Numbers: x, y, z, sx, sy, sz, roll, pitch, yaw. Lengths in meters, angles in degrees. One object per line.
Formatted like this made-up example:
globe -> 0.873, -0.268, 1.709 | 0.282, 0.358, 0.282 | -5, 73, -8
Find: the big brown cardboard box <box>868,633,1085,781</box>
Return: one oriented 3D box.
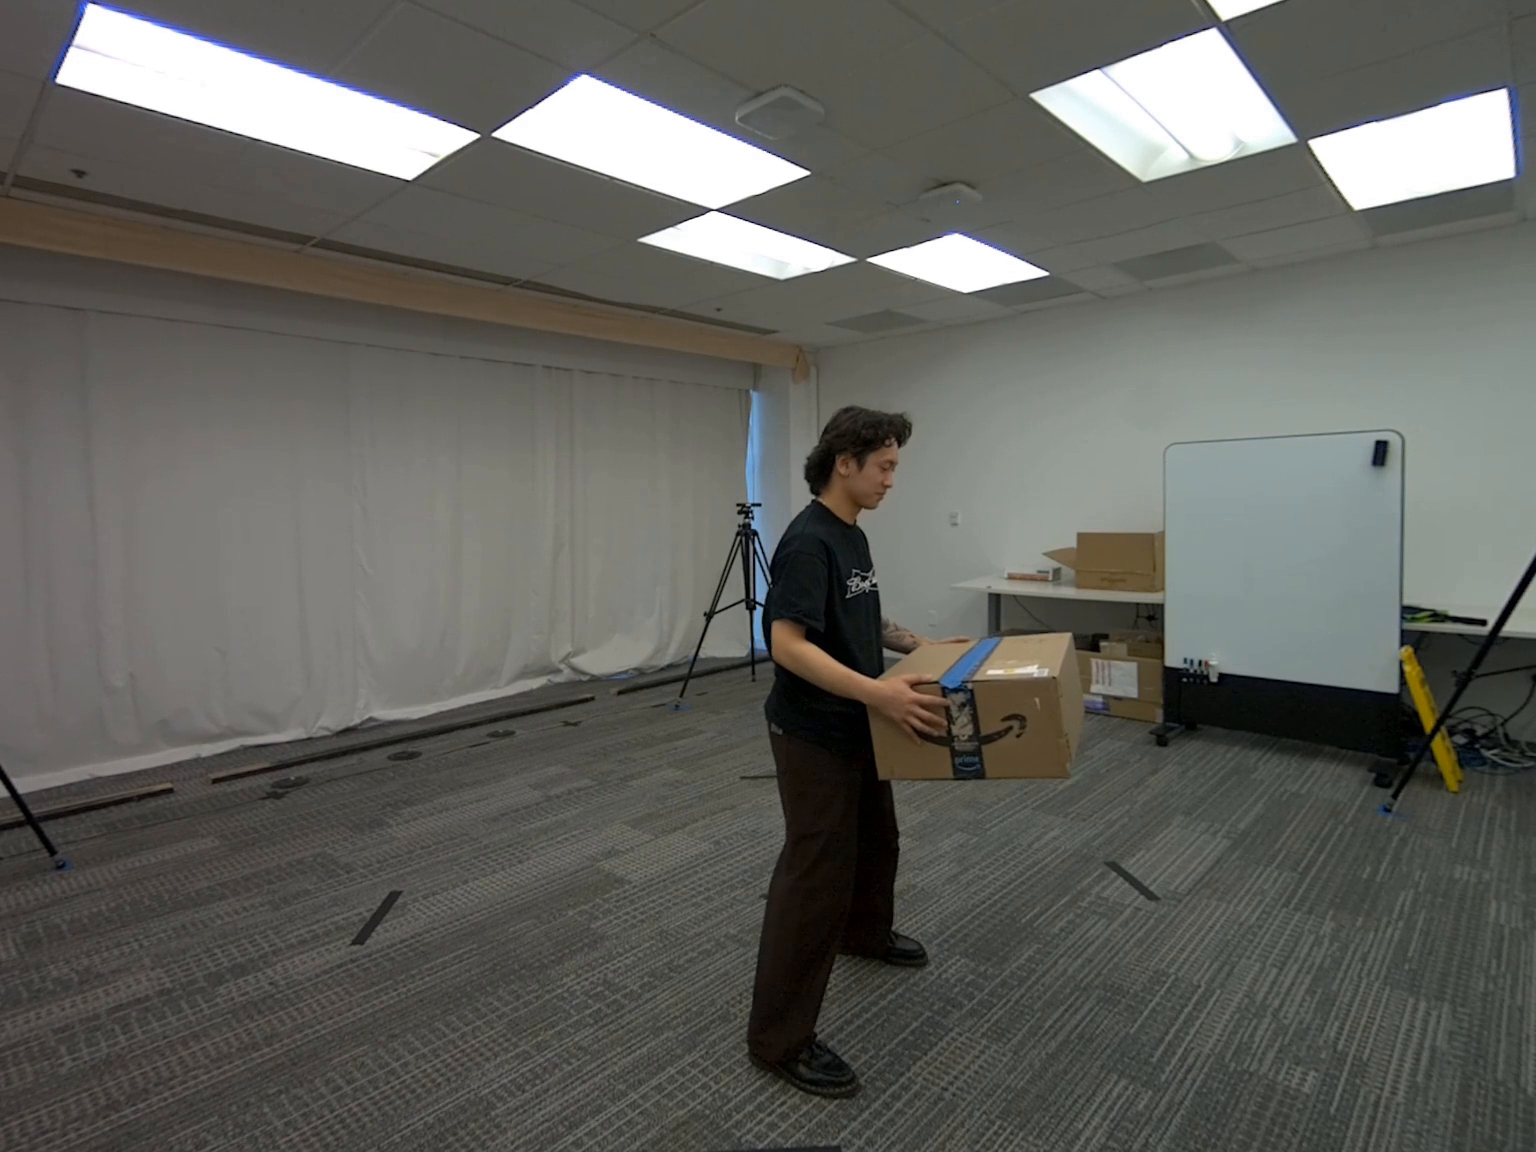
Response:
big brown cardboard box -> 0.536, 0.304, 2.080 | 0.427, 0.233, 0.575 | -7, 1, 25
